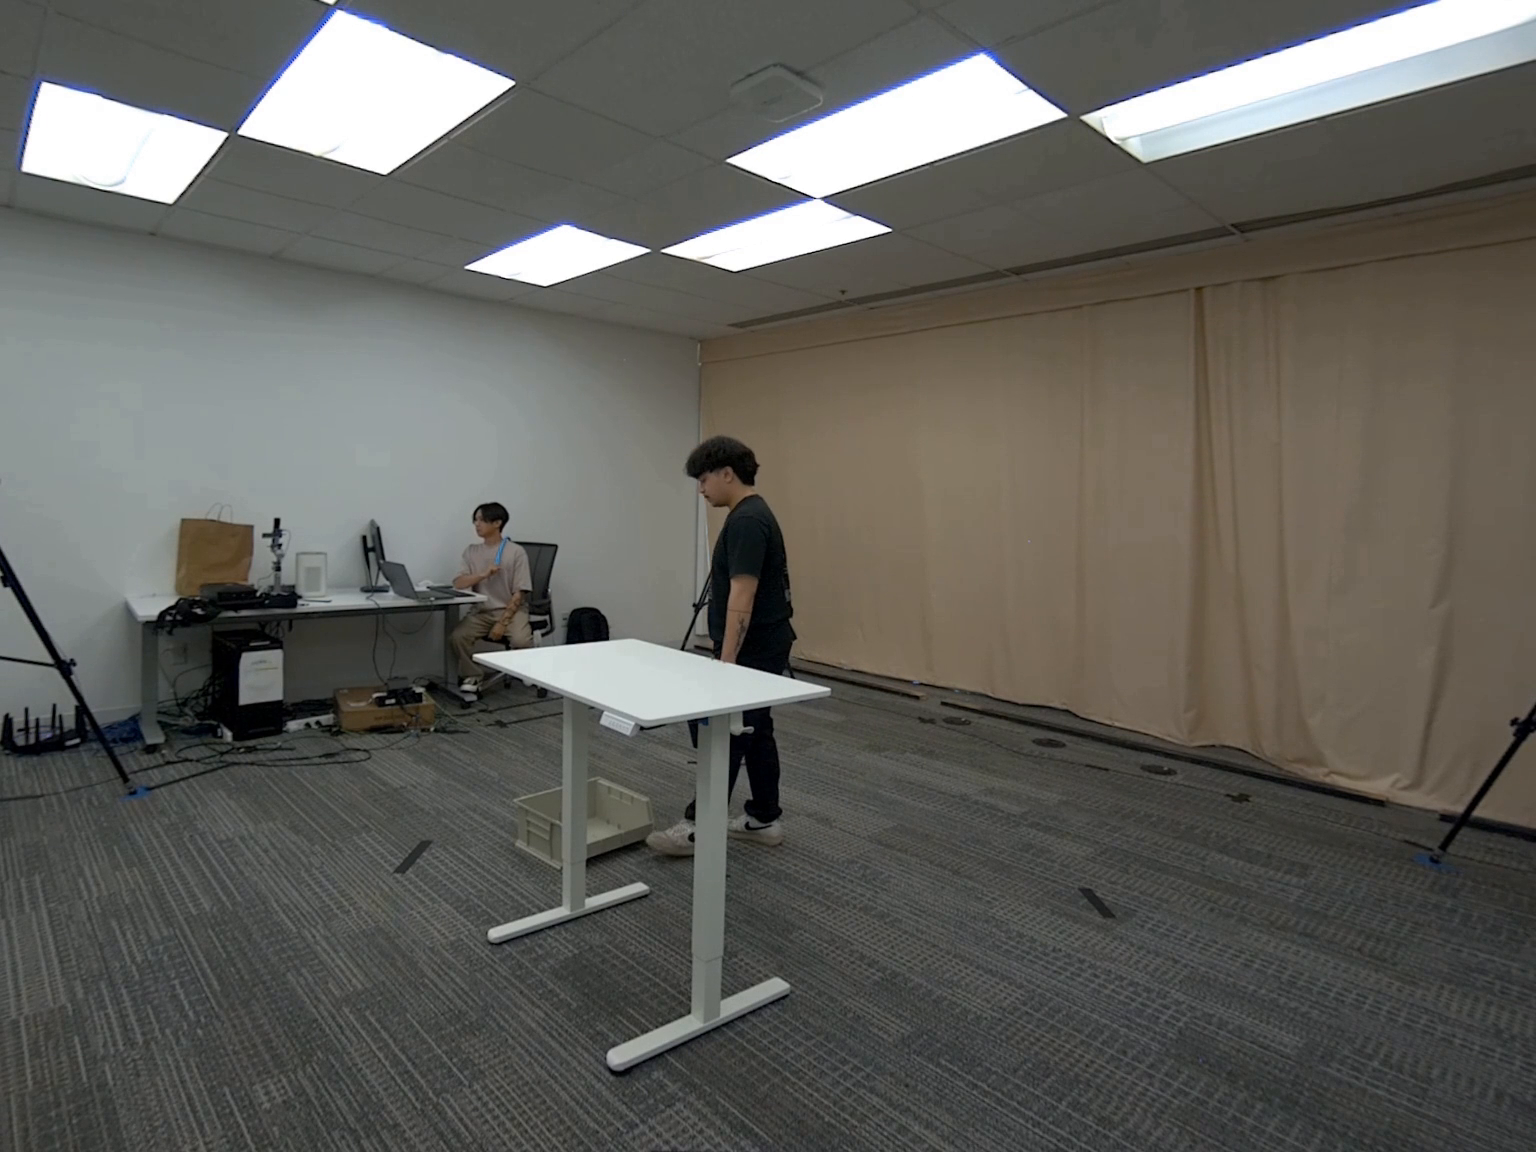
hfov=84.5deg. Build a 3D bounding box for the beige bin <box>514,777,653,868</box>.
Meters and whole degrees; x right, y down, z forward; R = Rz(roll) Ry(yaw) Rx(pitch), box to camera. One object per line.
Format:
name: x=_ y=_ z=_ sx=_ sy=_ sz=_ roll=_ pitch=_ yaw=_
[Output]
beige bin: x=-0.739 y=0.985 z=3.356 sx=0.387 sy=0.188 sz=0.413 roll=5 pitch=6 yaw=43
